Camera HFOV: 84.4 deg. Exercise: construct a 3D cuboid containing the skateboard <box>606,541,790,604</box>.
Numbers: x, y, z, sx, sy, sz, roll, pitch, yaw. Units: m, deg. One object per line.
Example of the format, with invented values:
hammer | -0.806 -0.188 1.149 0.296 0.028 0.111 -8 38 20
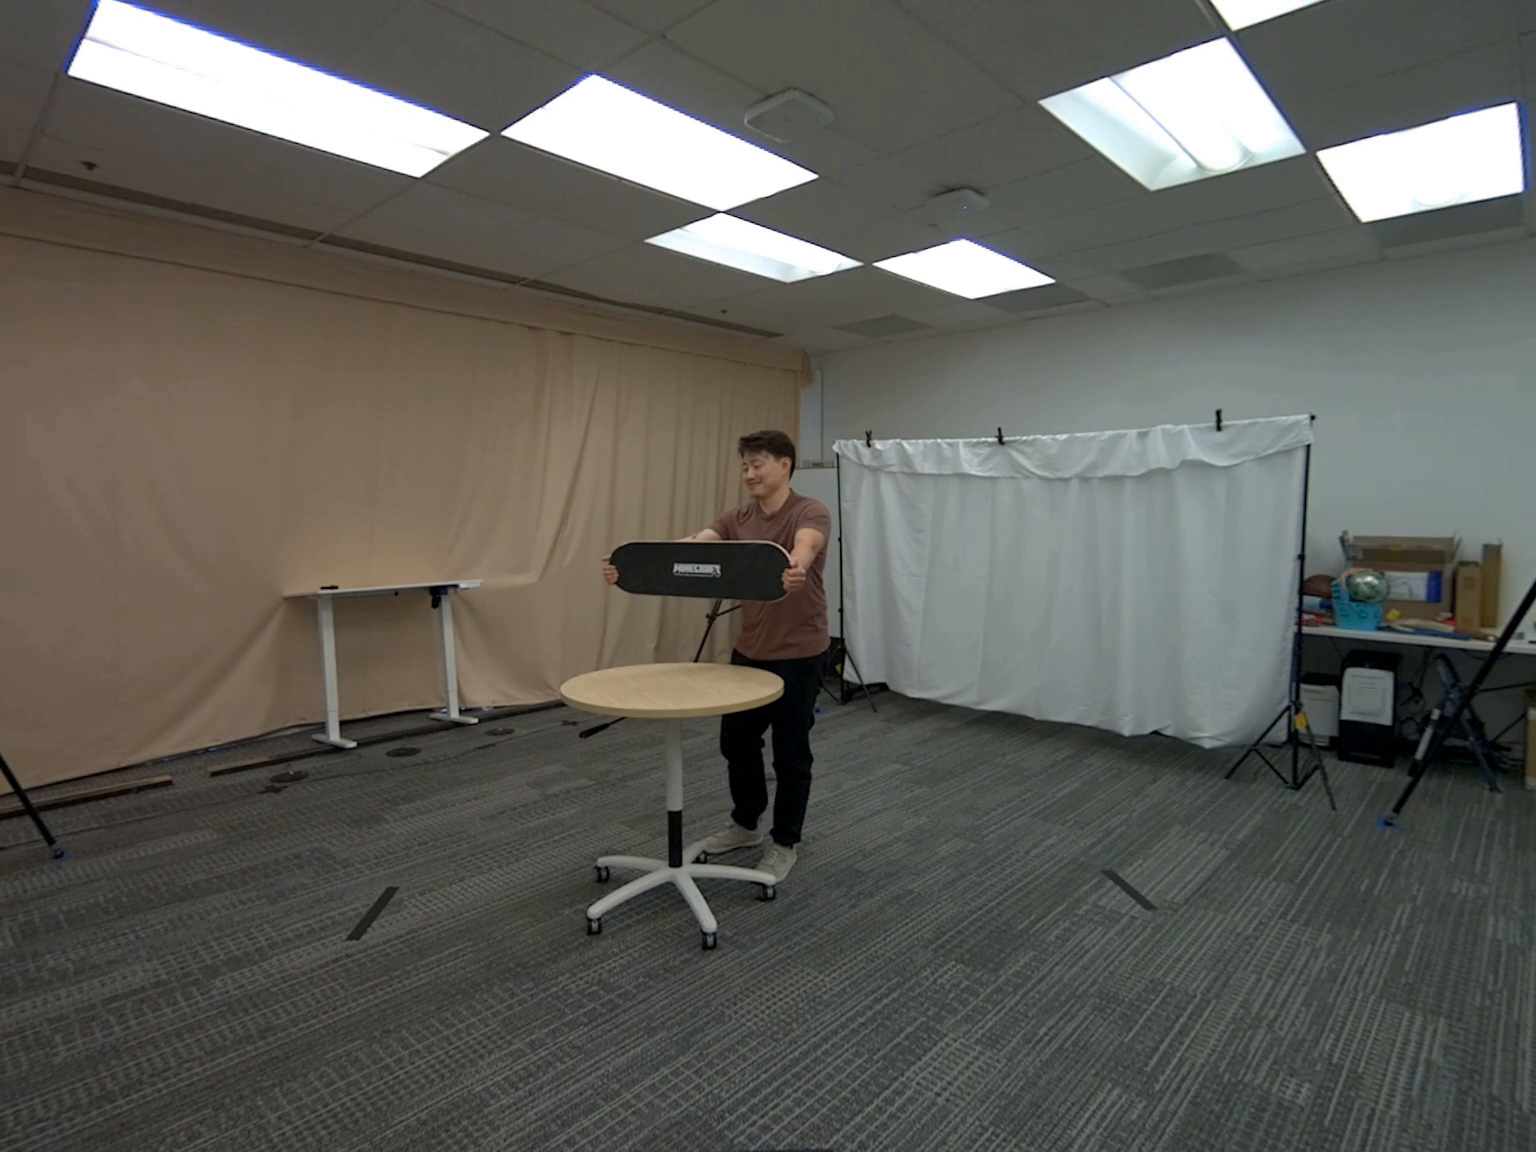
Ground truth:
skateboard | -0.229 -0.018 2.863 0.810 0.193 0.107 1 2 37
